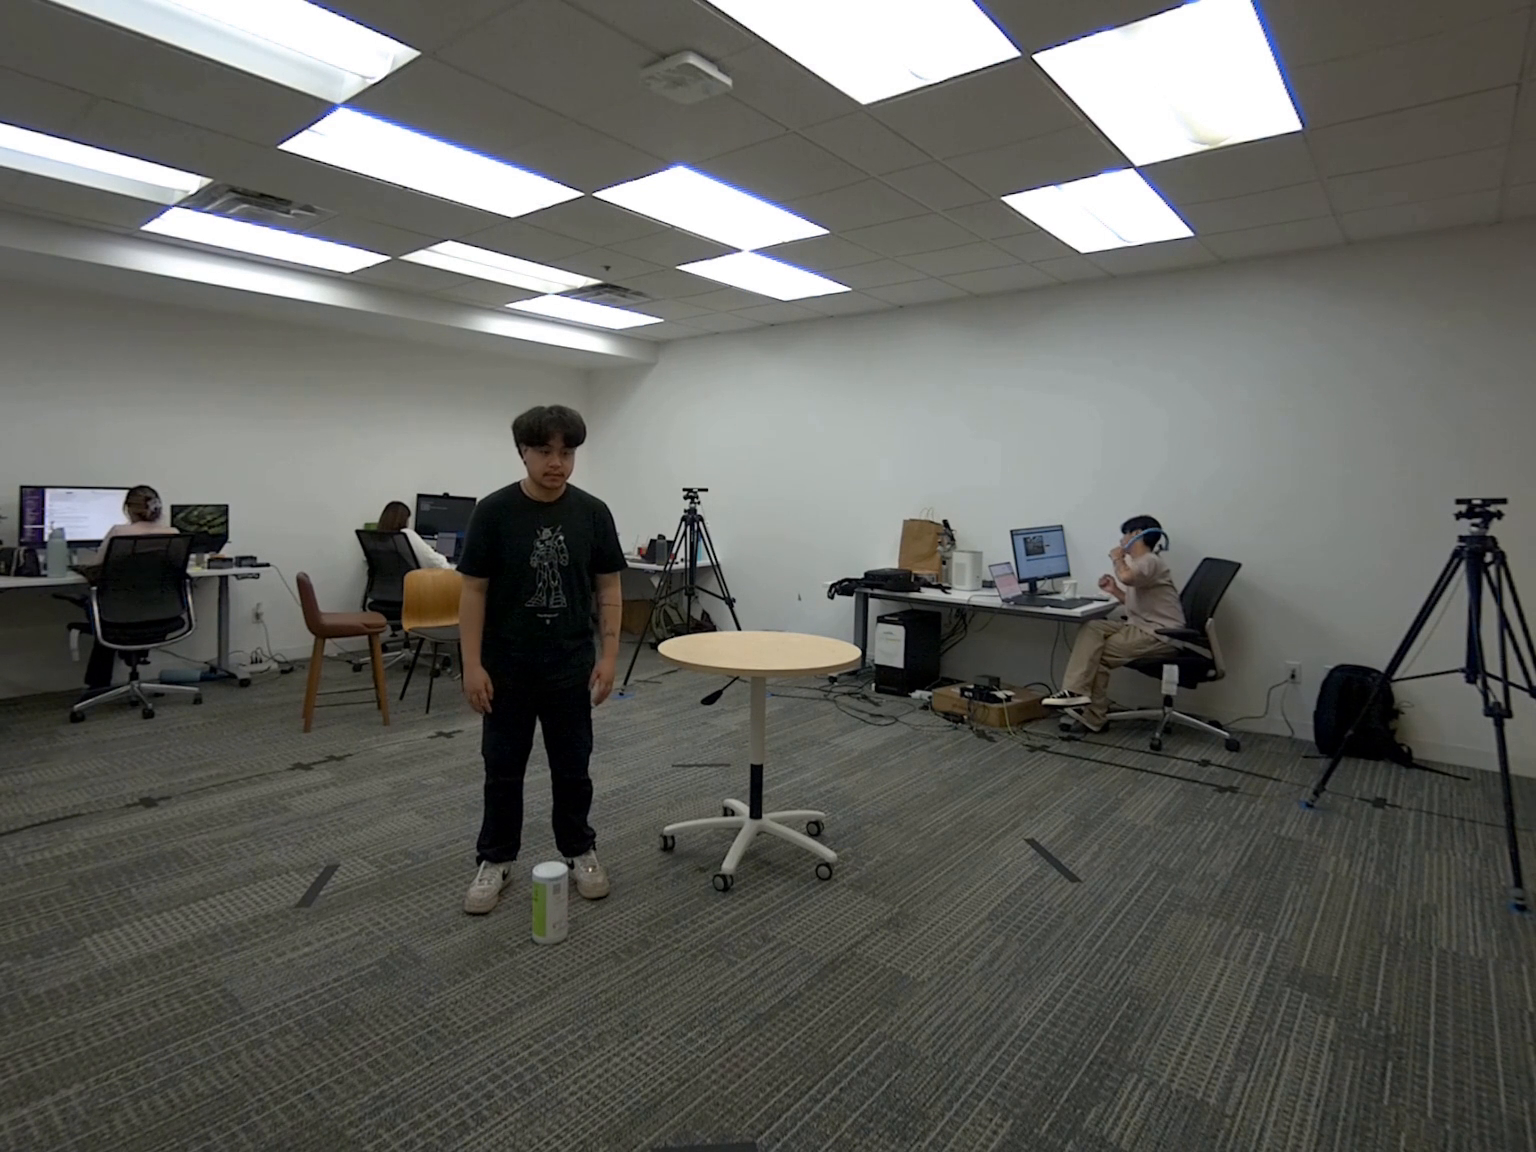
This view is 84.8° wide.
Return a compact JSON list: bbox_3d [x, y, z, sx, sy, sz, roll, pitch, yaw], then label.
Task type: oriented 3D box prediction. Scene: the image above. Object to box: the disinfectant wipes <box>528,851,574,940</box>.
[{"bbox_3d":[-0.673,0.991,2.616,0.117,0.217,0.118,2,4,-2],"label":"disinfectant wipes"}]
